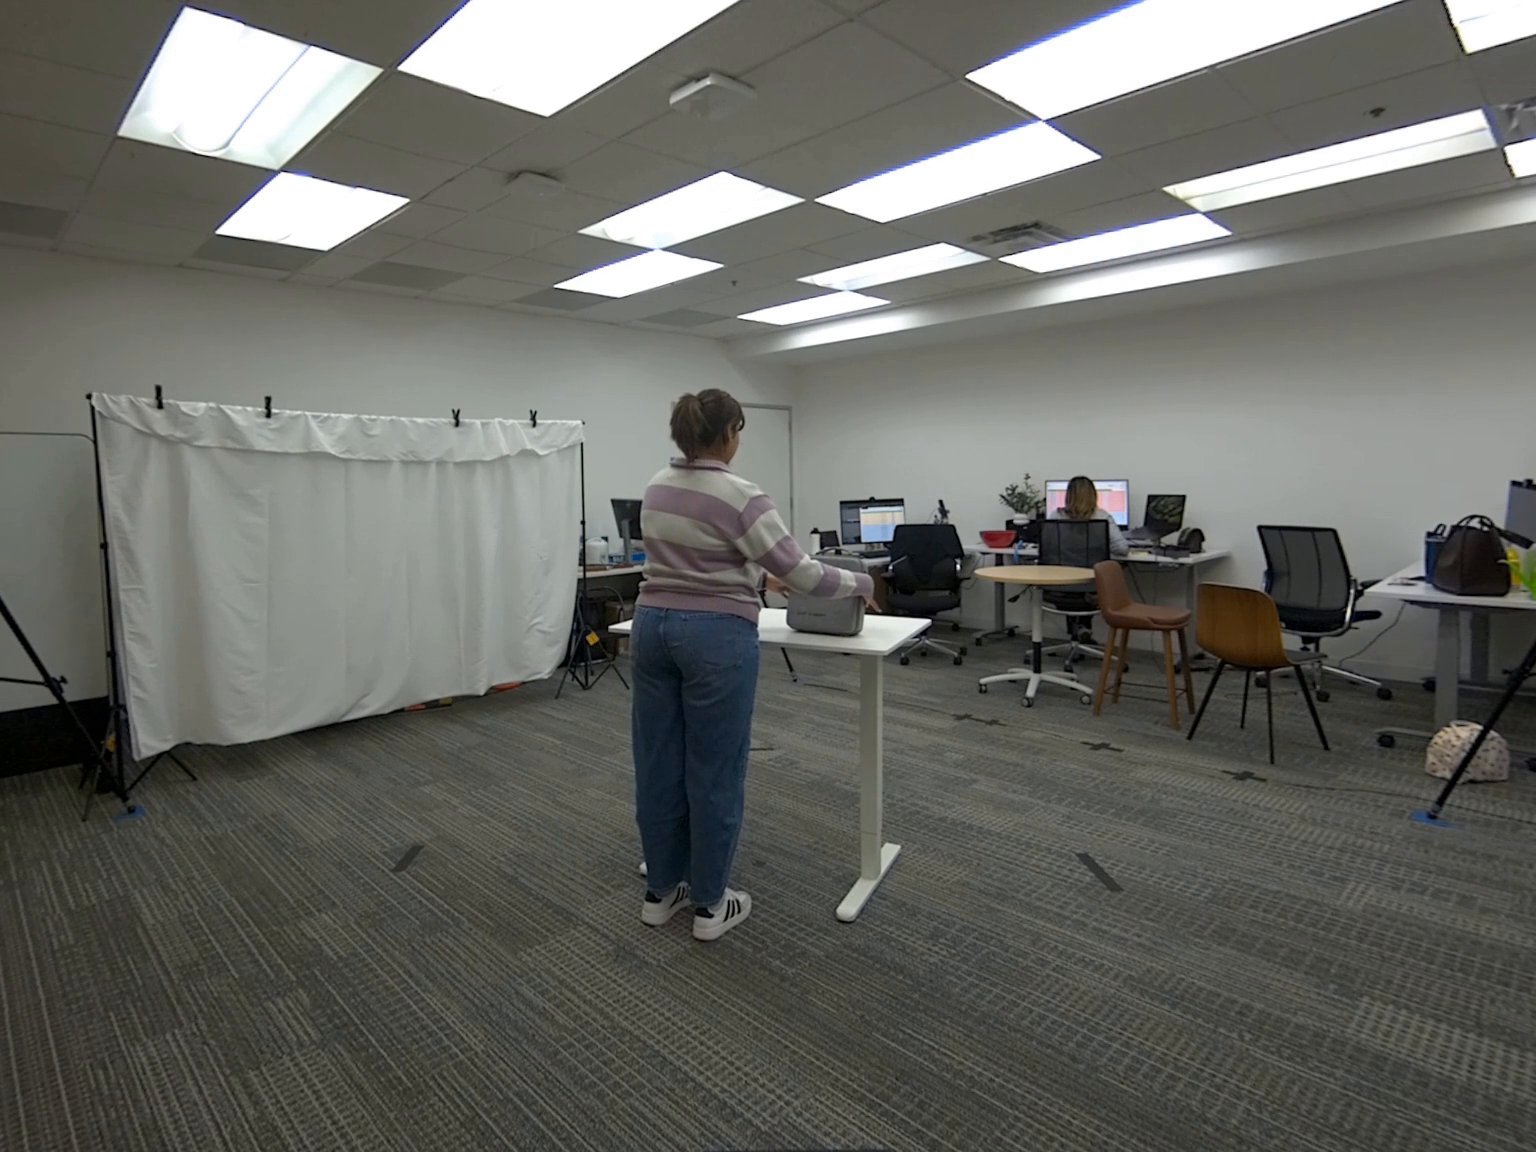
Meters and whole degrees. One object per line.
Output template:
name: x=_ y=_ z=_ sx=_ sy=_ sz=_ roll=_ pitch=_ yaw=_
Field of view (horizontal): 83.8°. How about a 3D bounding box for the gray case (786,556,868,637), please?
gray case: x=0.200 y=0.059 z=2.869 sx=0.264 sy=0.262 sz=0.101 roll=4 pitch=-7 yaw=30
